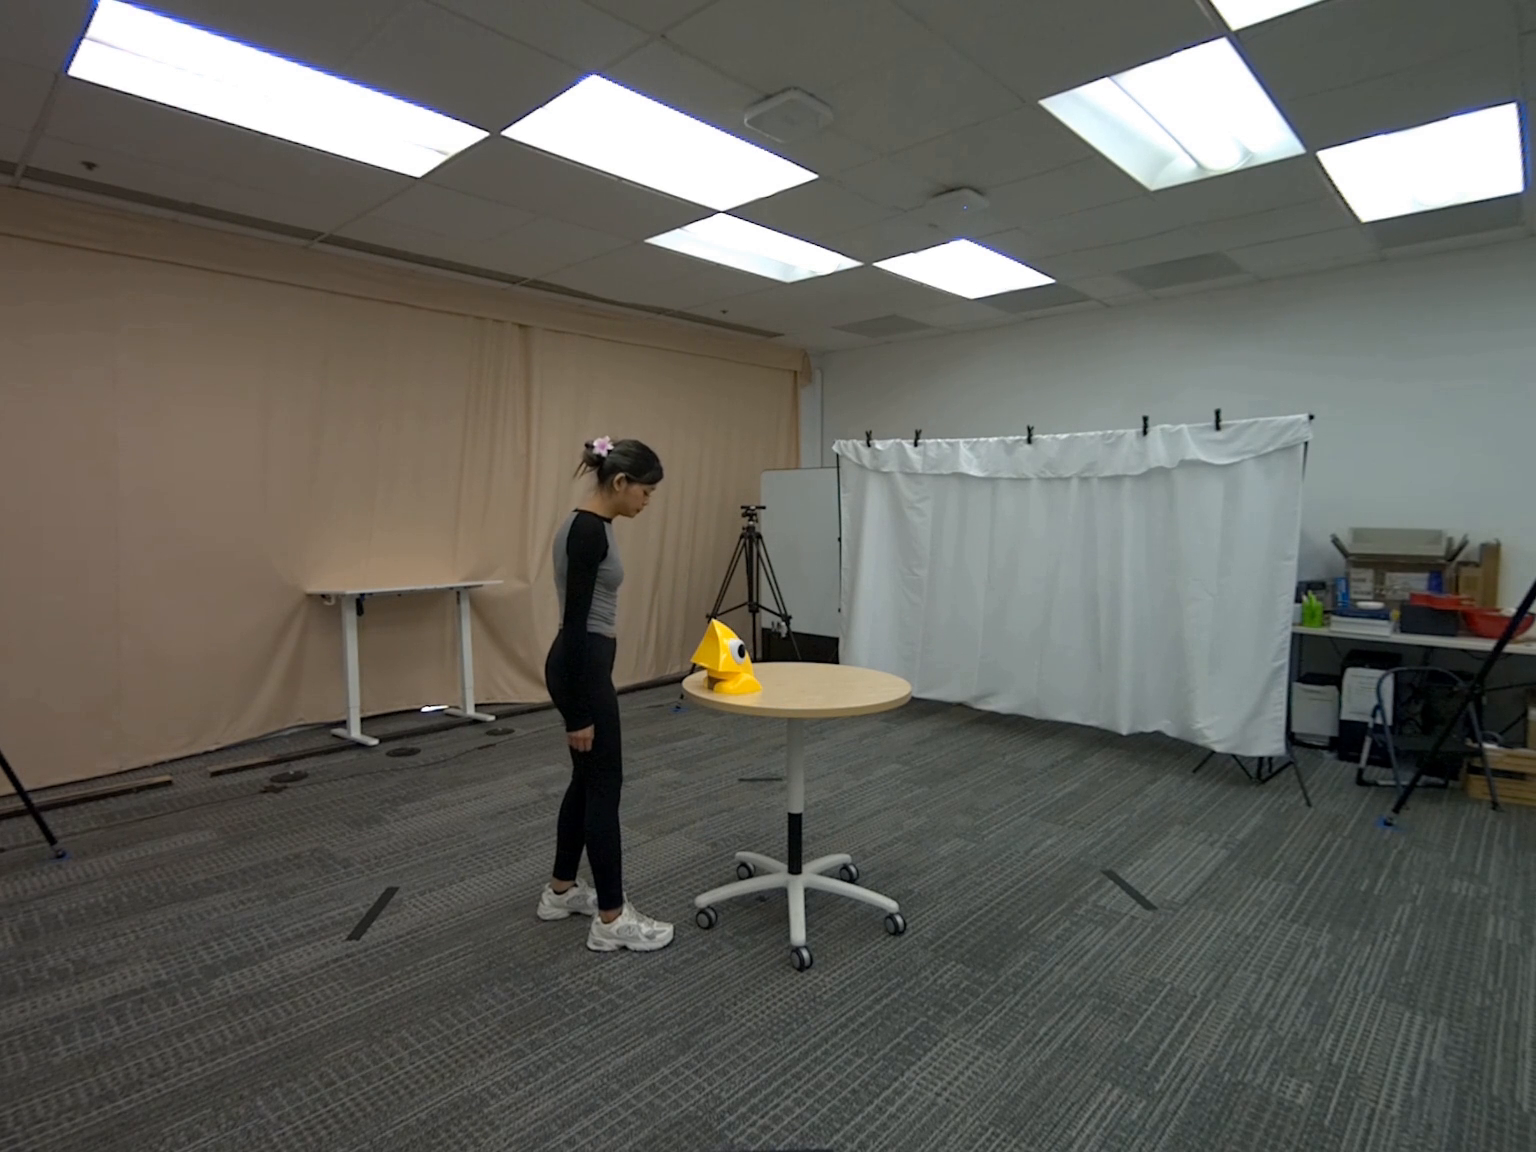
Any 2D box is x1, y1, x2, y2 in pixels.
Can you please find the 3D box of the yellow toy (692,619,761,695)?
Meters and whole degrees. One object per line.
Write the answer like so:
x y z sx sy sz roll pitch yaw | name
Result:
-0.127 0.253 2.756 0.188 0.230 0.211 -1 3 -30 | yellow toy
